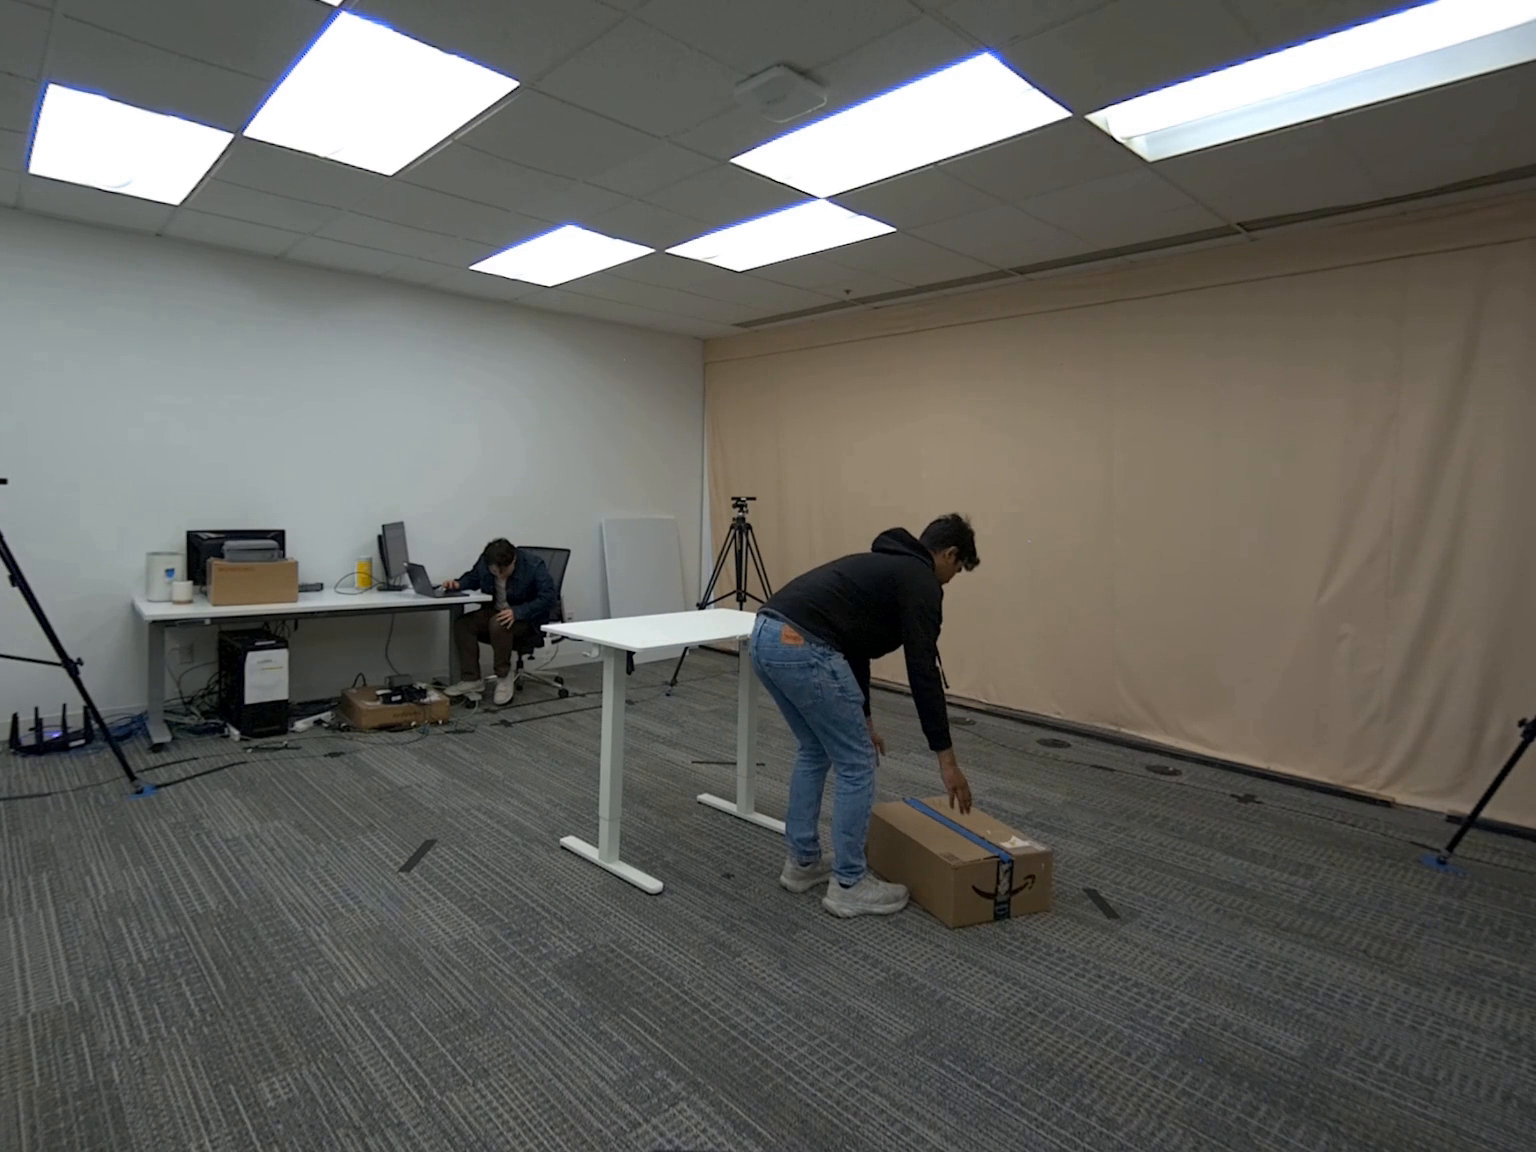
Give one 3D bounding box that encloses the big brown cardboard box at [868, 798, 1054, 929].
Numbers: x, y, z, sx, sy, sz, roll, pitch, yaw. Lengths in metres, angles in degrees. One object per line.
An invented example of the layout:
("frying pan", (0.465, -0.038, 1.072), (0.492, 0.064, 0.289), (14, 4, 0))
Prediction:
("big brown cardboard box", (0.664, 1.020, 3.075), (0.410, 0.233, 0.600), (0, 4, -24))
